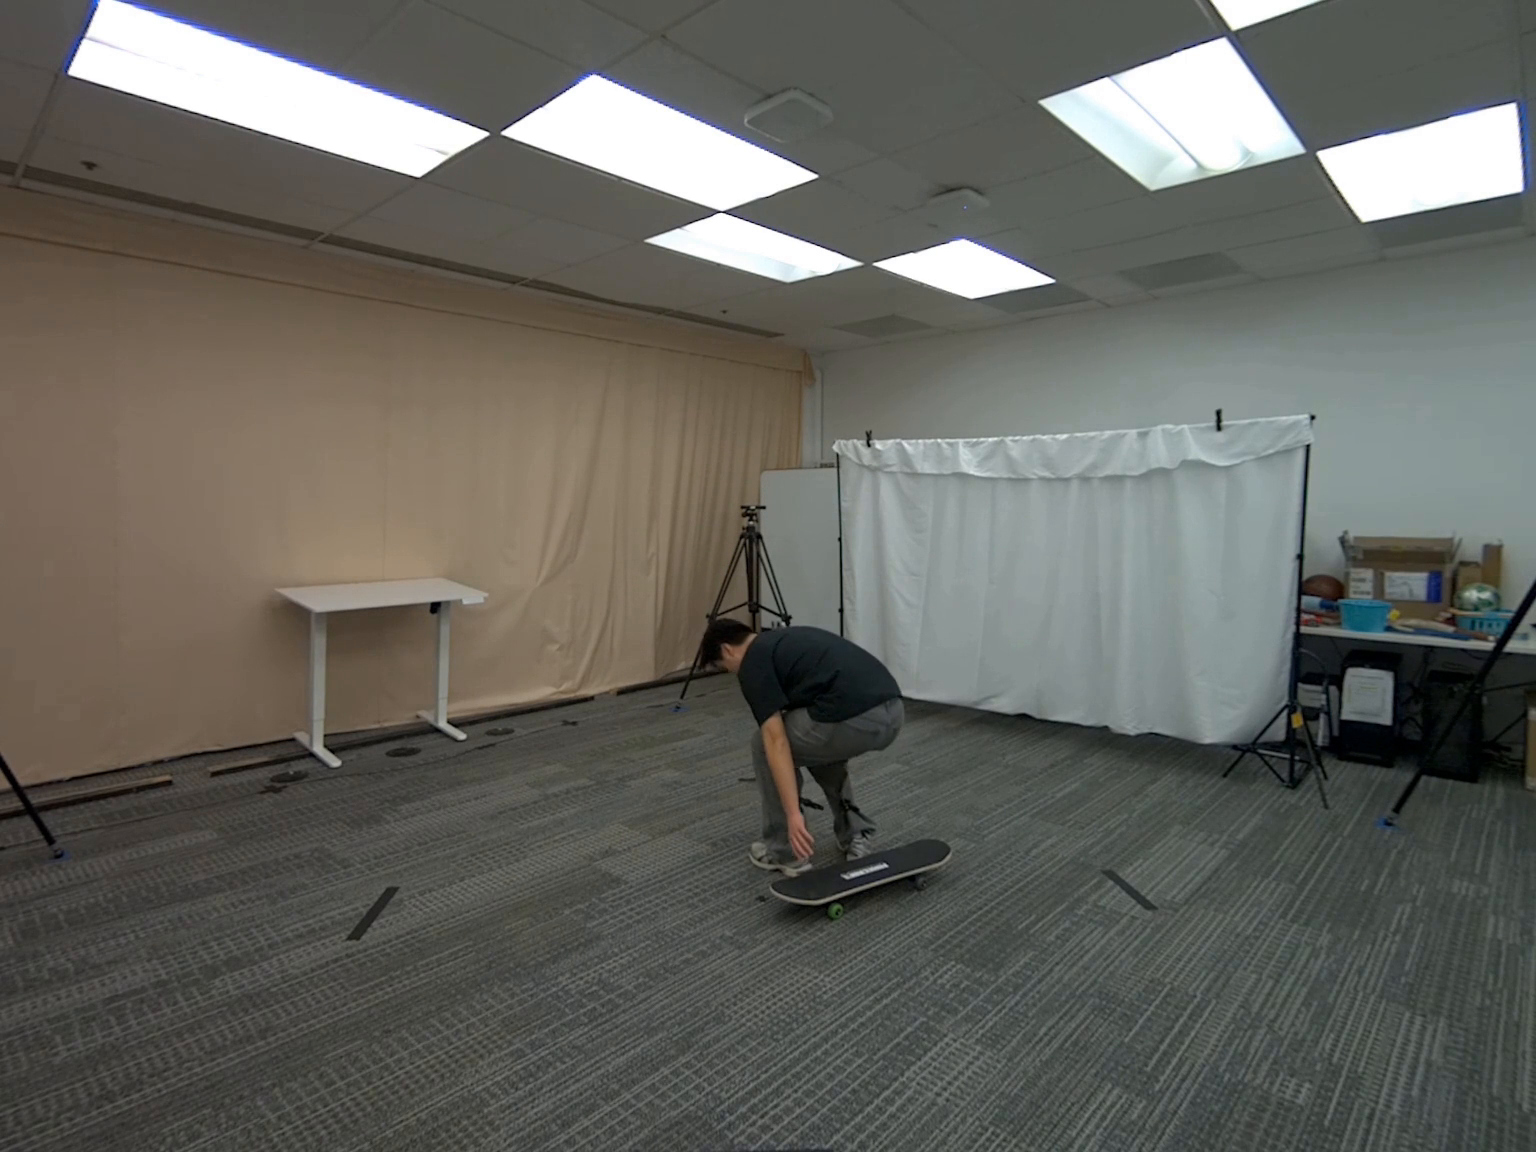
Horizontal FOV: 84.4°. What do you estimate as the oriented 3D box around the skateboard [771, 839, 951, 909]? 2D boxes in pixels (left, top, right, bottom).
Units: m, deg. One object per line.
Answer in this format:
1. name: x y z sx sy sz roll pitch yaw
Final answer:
1. skateboard: 0.350 1.079 3.013 0.763 0.110 0.199 -4 6 -34
